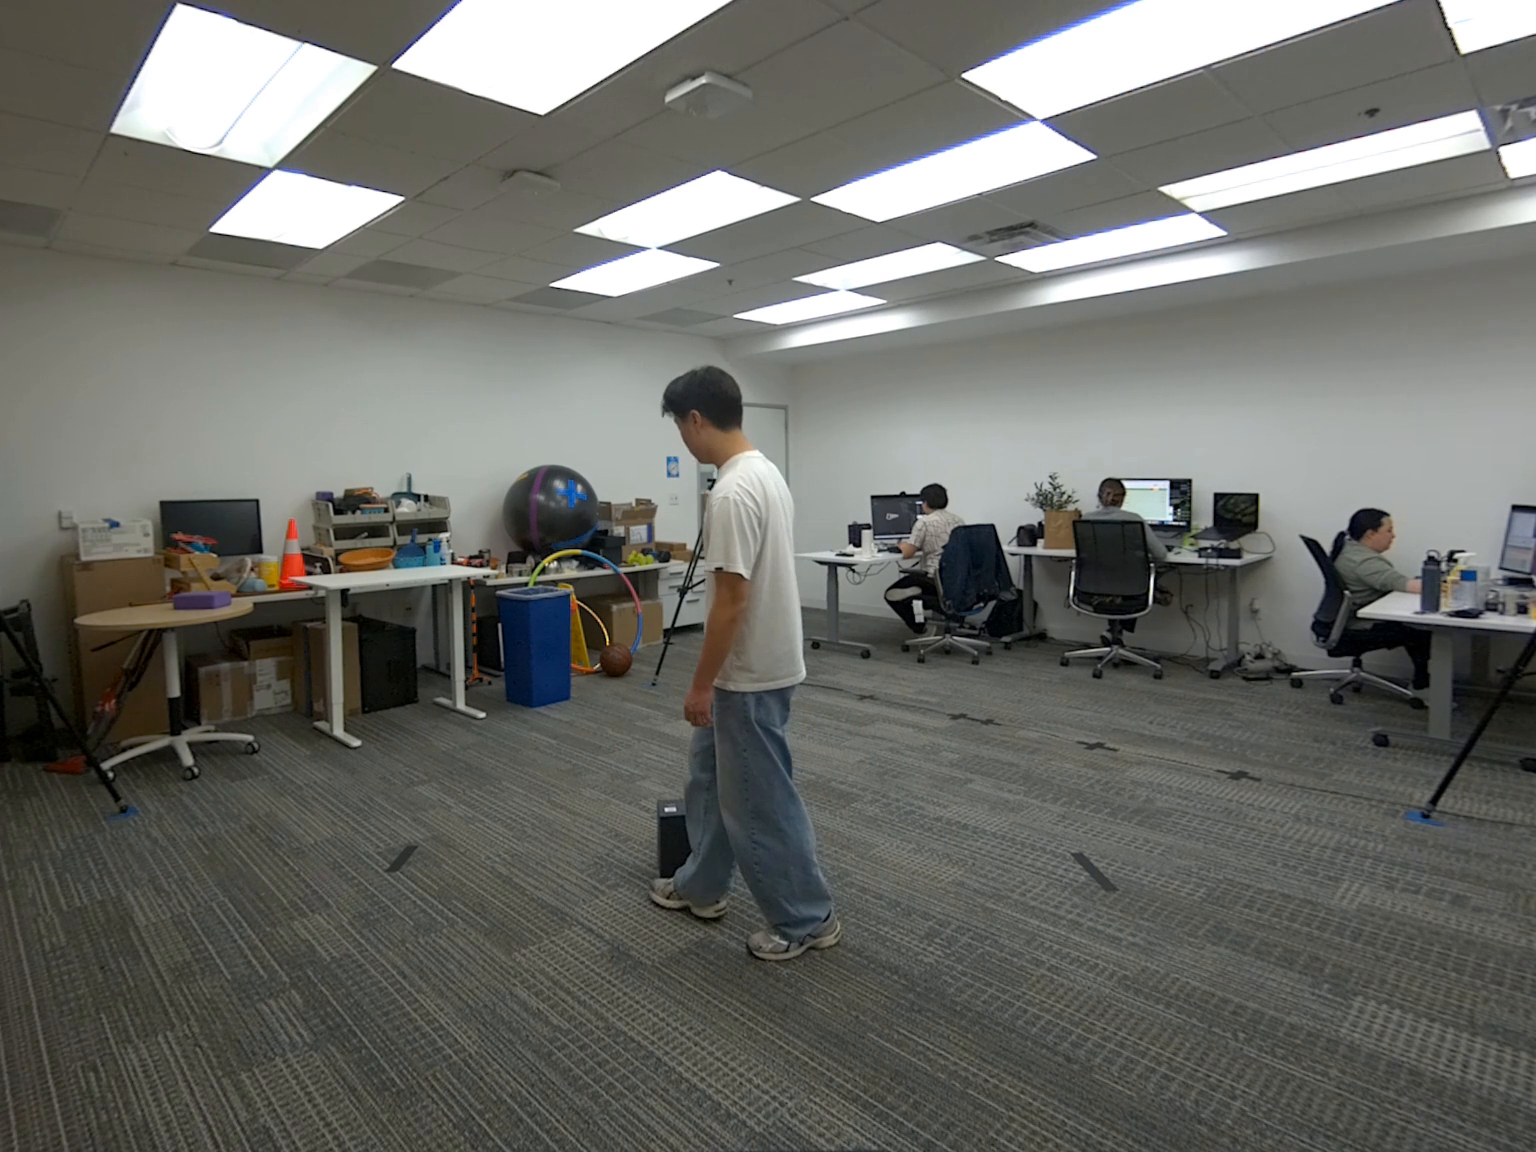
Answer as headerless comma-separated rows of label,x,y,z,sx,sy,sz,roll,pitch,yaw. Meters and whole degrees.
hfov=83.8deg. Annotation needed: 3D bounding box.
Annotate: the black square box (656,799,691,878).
black square box,-0.284,0.935,3.076,0.215,0.227,0.158,-2,3,-9
